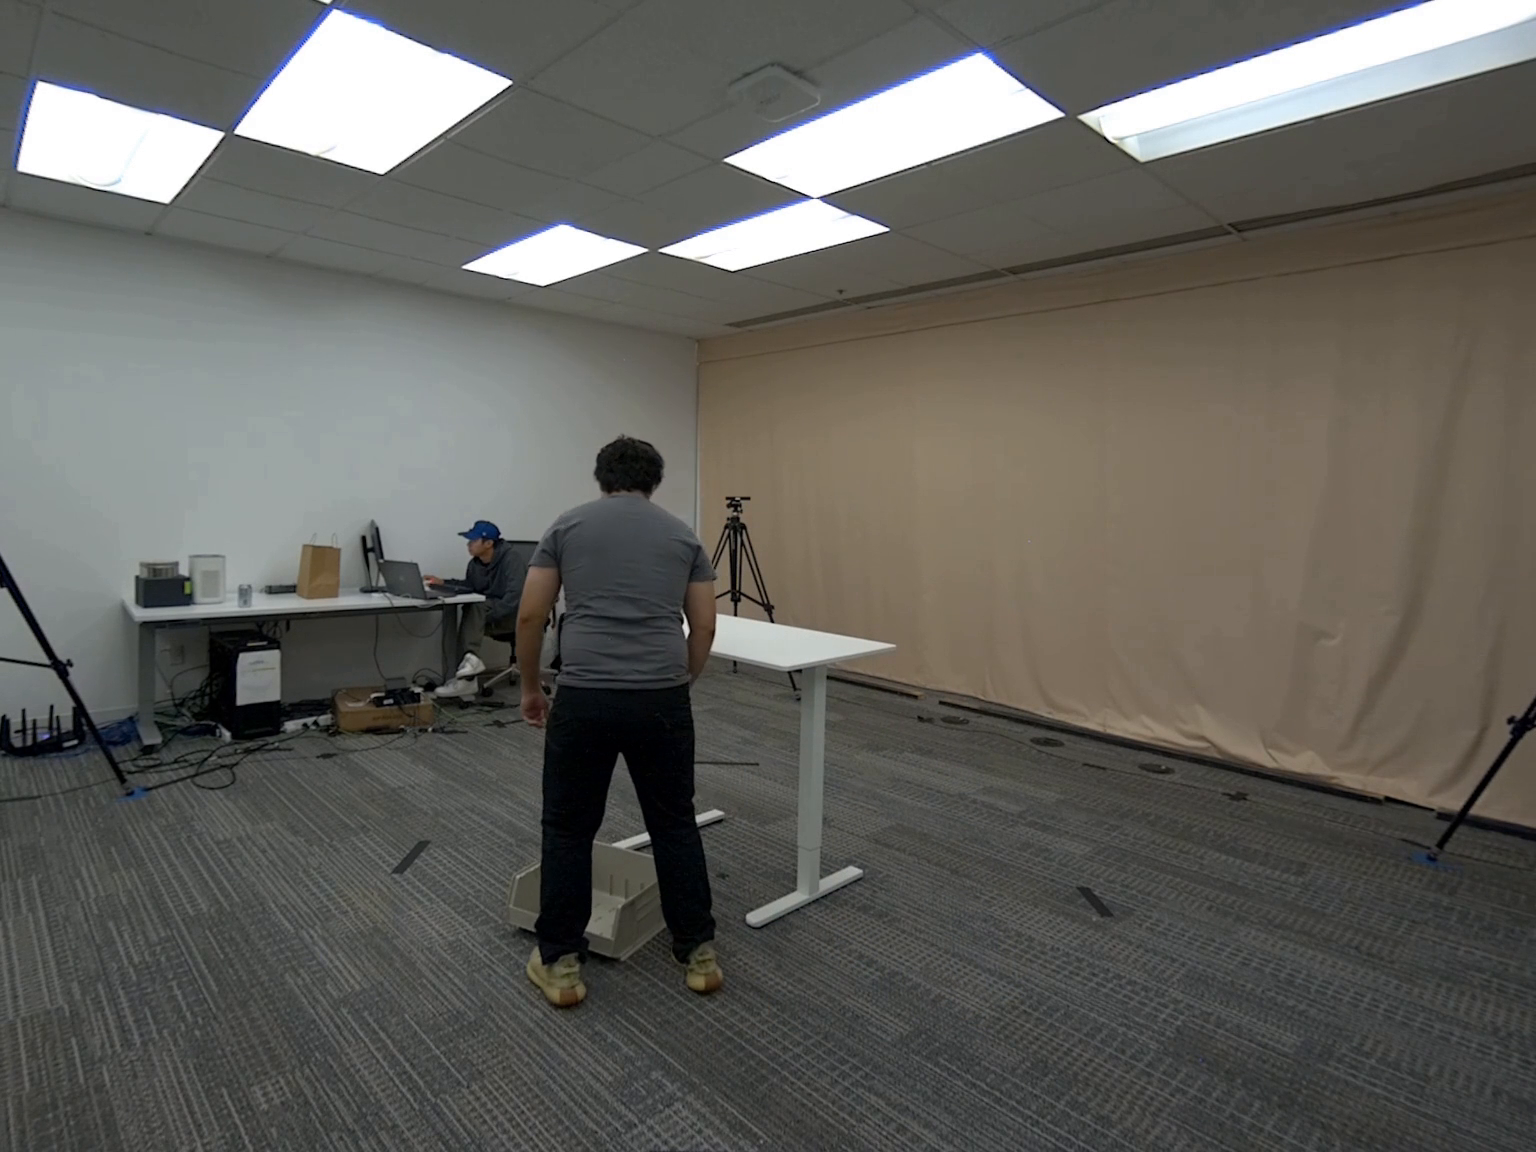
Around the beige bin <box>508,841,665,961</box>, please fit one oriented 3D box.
[{"bbox_3d":[-0.559,1.046,2.719,0.431,0.188,0.370,3,4,27],"label":"beige bin"}]
